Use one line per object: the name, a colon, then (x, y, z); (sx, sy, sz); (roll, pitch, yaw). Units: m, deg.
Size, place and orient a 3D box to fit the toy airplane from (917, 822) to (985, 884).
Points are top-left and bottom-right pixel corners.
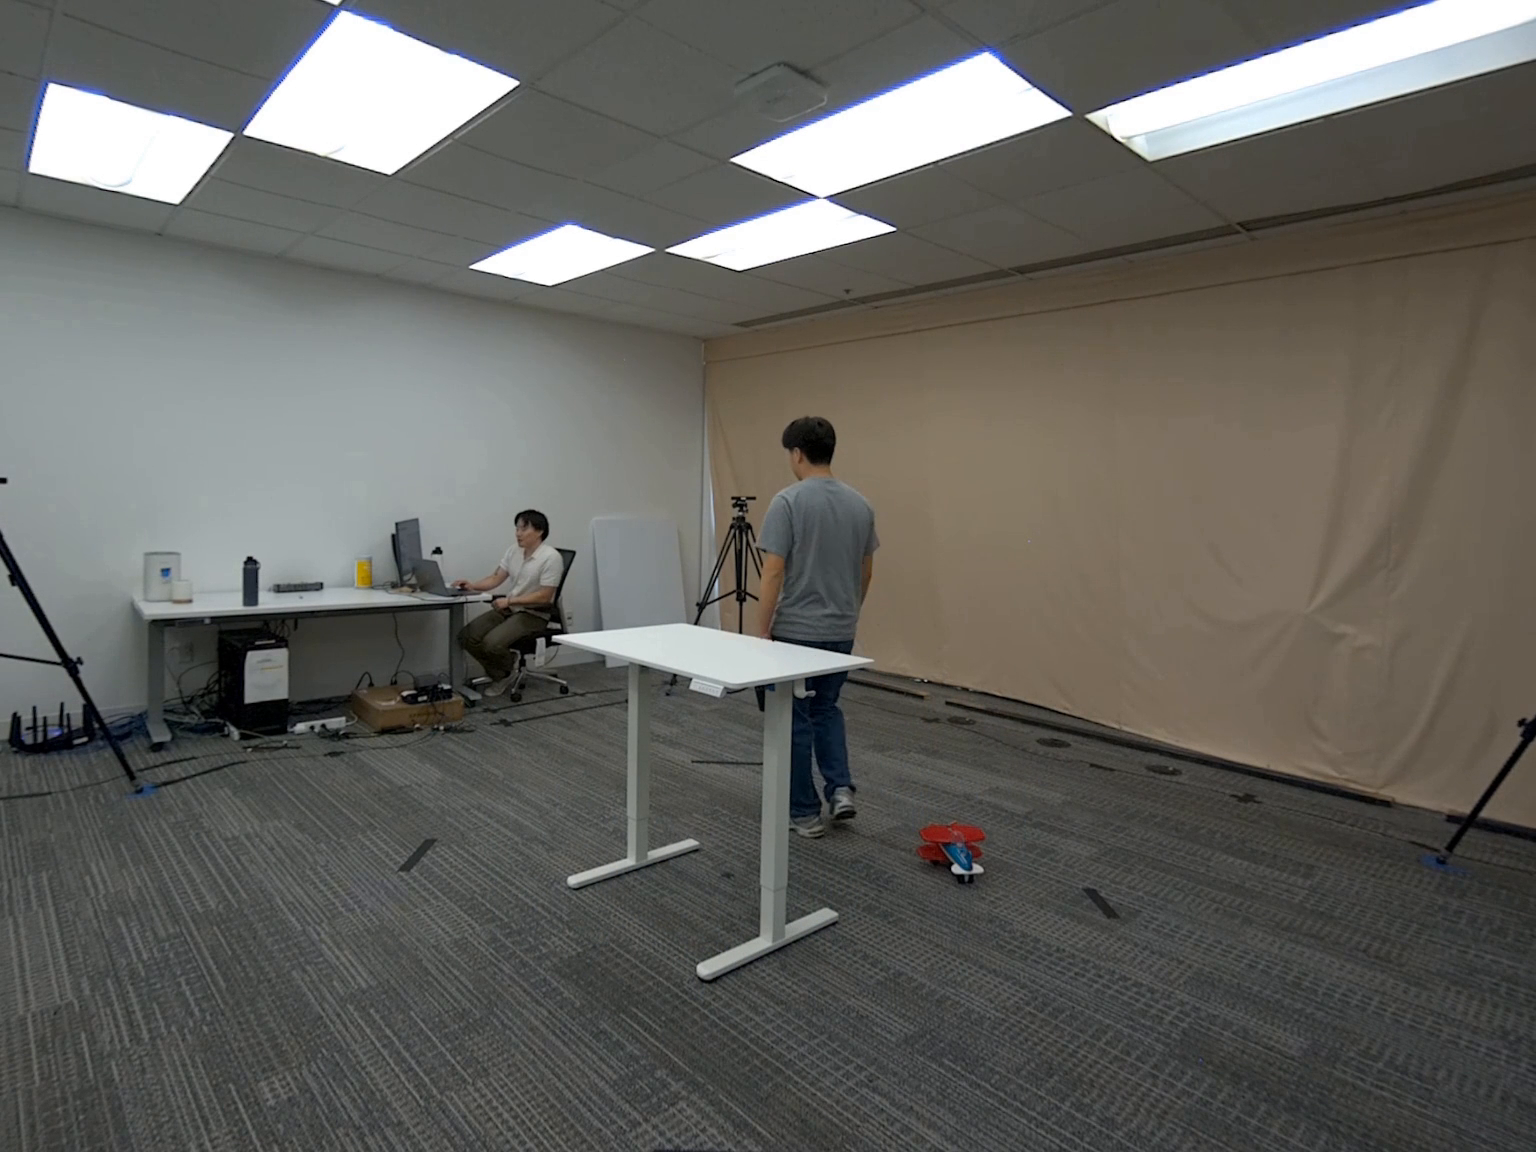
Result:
toy airplane: (0.724, 1.049, 3.189); (0.245, 0.156, 0.266); (-3, 6, -41)
